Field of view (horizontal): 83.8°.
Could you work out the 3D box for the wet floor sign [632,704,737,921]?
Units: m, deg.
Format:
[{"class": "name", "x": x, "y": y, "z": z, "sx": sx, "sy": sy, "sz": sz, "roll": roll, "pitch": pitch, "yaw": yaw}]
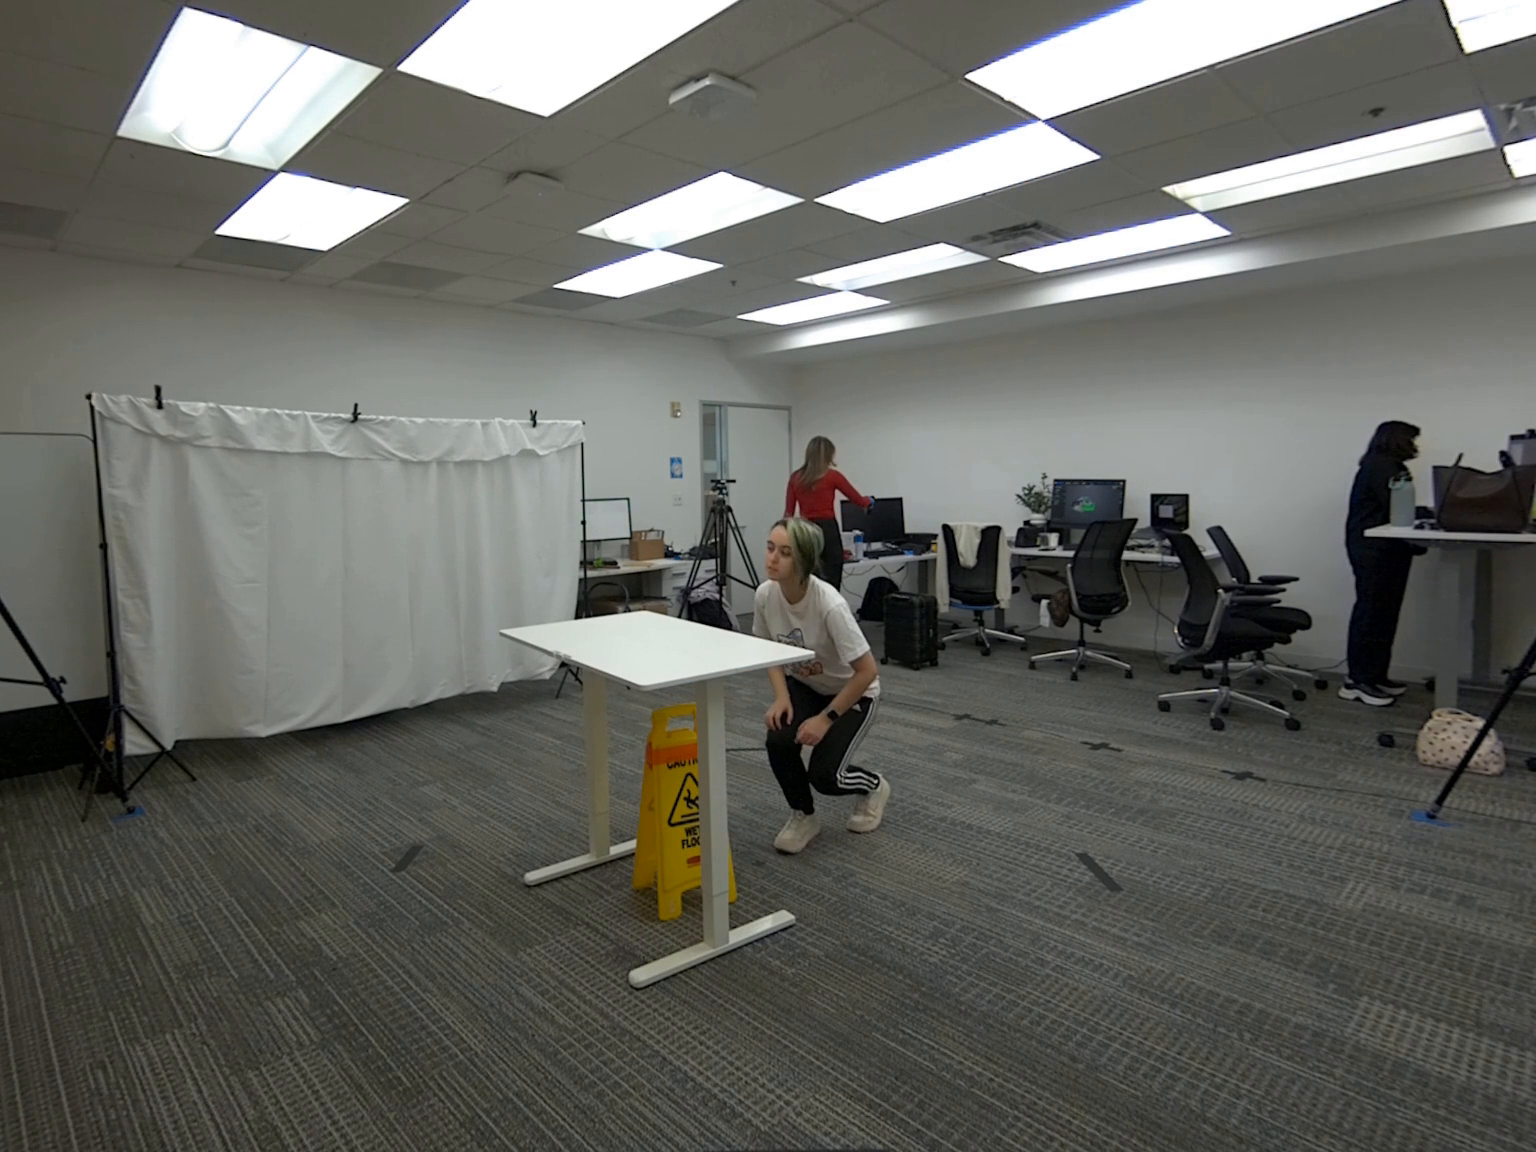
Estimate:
[{"class": "wet floor sign", "x": -0.288, "y": 0.752, "z": 2.863, "sx": 0.276, "sy": 0.644, "sz": 0.297, "roll": -2, "pitch": 4, "yaw": -28}]
